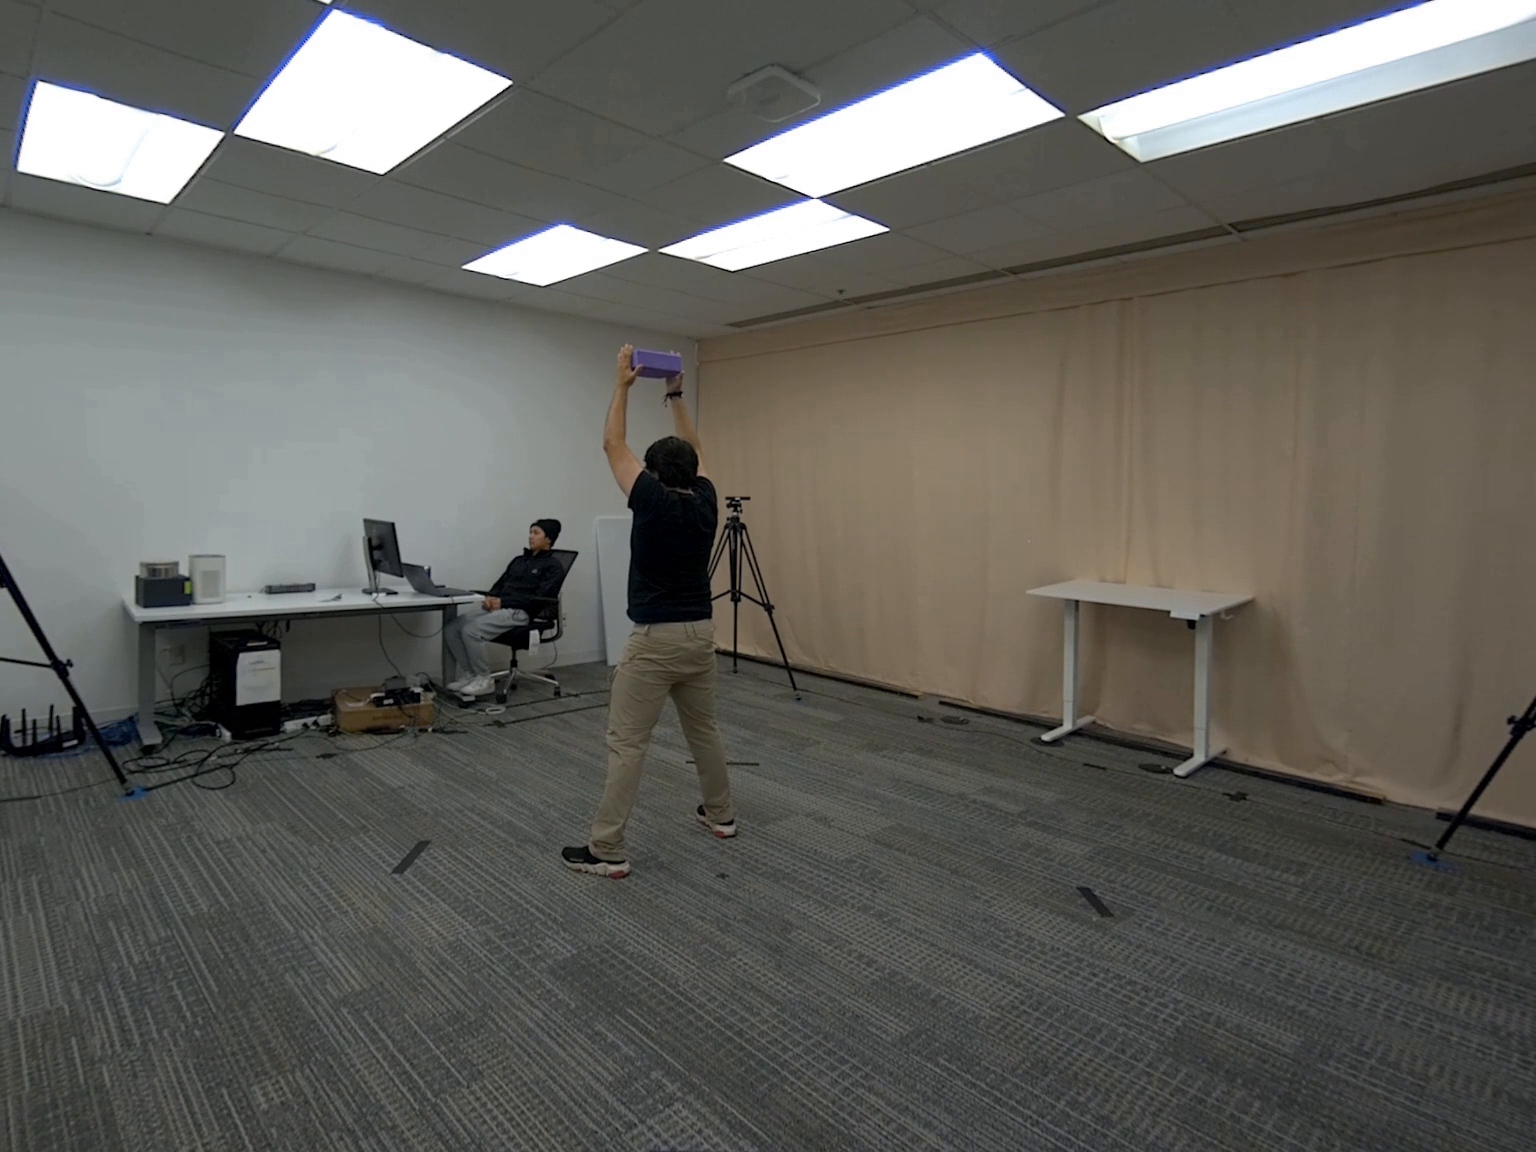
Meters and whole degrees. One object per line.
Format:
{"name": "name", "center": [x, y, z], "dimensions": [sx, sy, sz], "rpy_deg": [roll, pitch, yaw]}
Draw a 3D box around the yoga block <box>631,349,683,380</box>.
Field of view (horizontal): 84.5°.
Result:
{"name": "yoga block", "center": [-0.480, -0.860, 3.410], "dimensions": [0.224, 0.076, 0.152], "rpy_deg": [-5, 2, -42]}
